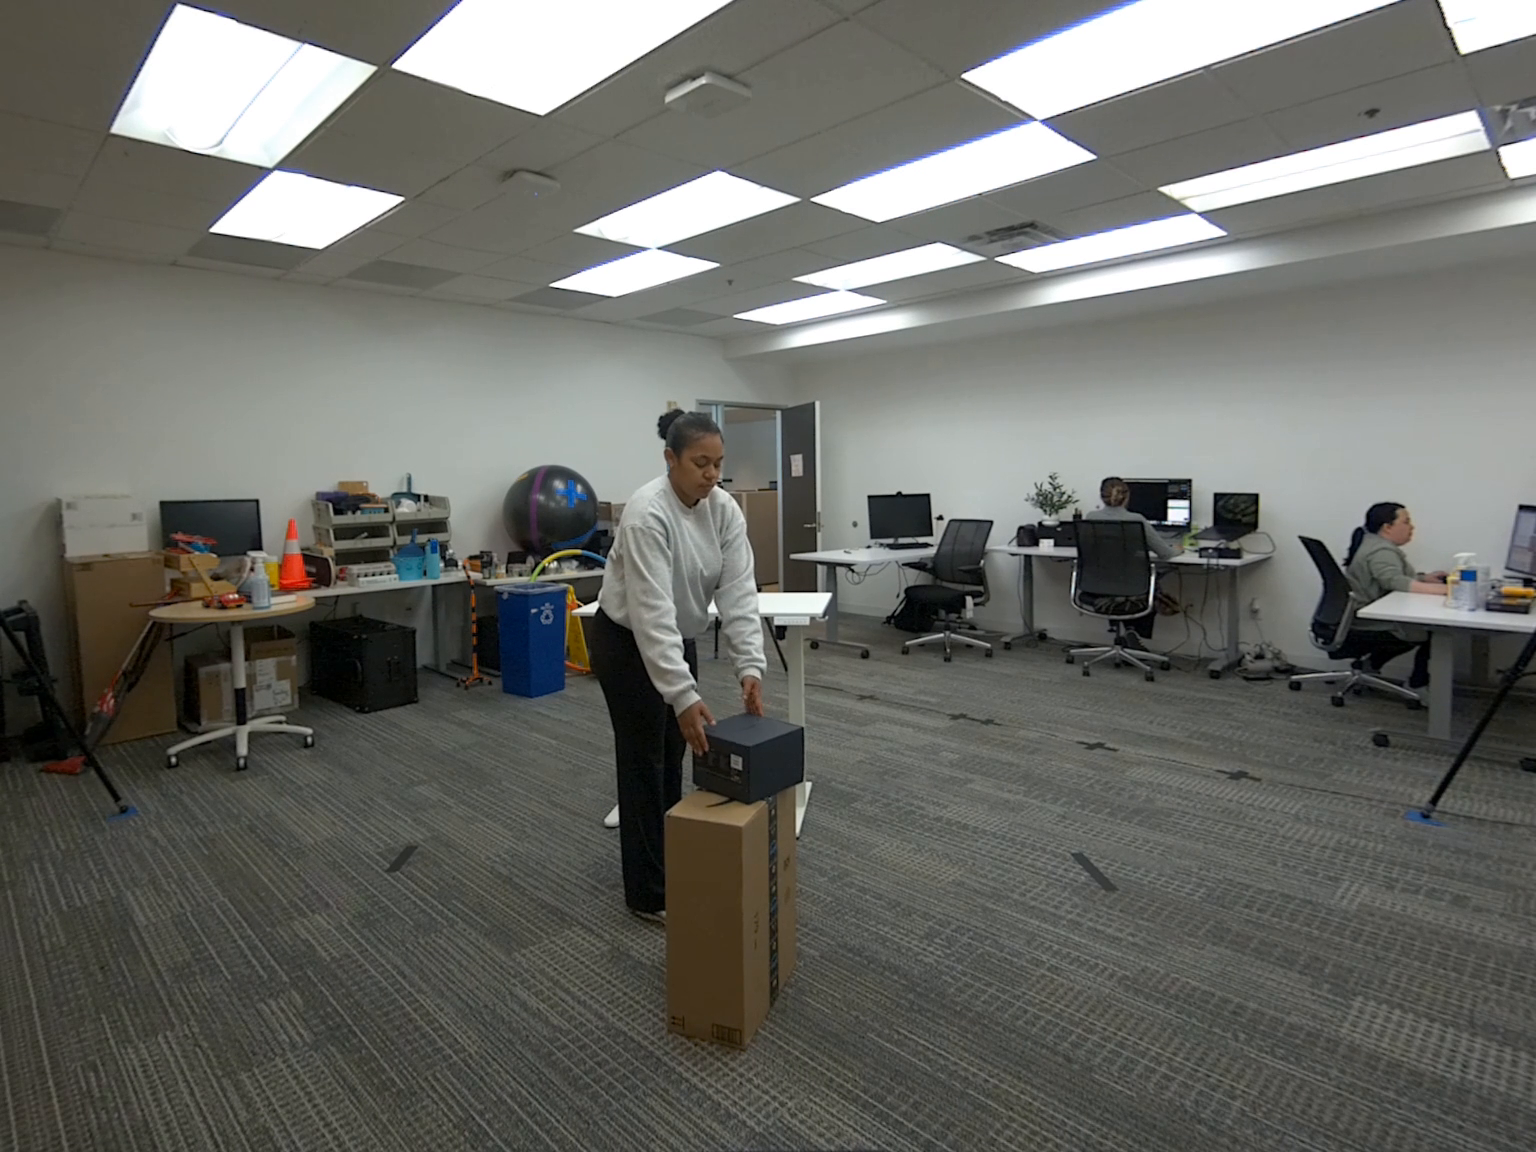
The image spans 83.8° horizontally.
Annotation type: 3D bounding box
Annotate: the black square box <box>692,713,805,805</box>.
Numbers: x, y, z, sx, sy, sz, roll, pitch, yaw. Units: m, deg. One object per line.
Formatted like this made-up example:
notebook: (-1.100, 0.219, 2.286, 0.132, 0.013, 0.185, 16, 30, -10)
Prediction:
black square box: (-0.051, 0.488, 2.339, 0.224, 0.155, 0.222, 6, 9, 42)
